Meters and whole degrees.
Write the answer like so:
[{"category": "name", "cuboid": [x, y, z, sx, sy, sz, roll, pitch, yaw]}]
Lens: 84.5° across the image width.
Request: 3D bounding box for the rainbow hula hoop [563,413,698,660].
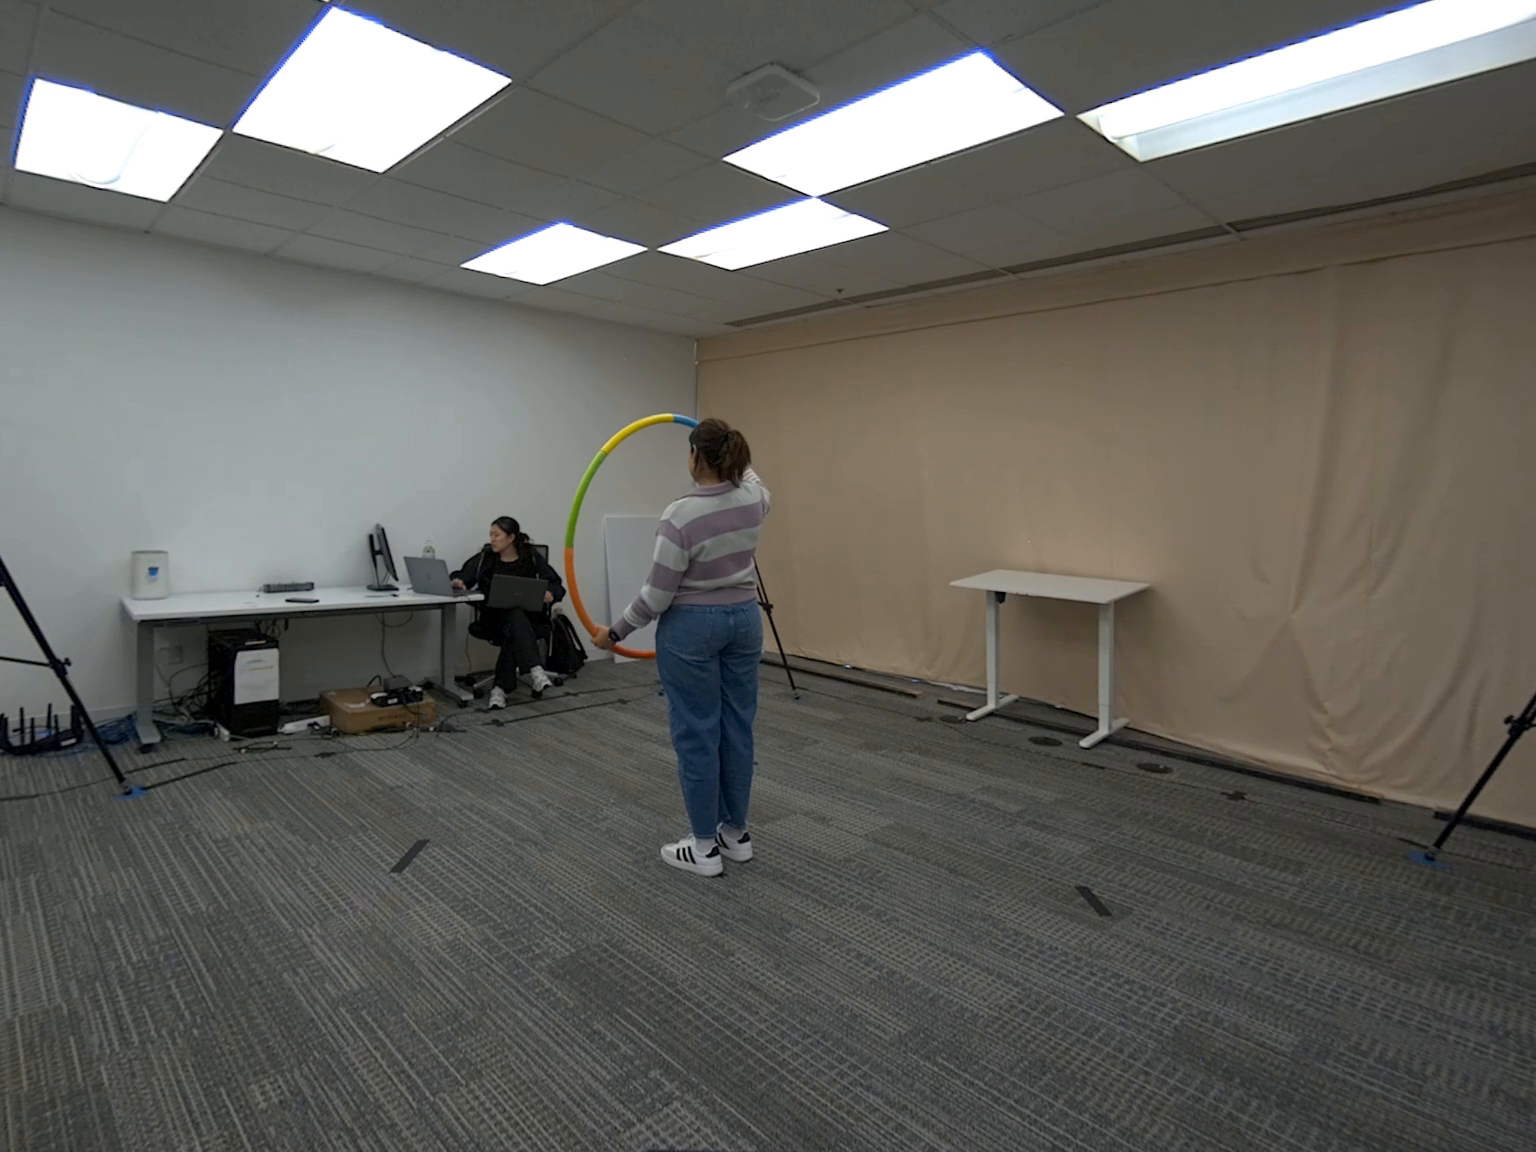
[{"category": "rainbow hula hoop", "cuboid": [-0.420, -0.157, 3.385, 0.036, 0.974, 0.957, 12, 10, 39]}]
